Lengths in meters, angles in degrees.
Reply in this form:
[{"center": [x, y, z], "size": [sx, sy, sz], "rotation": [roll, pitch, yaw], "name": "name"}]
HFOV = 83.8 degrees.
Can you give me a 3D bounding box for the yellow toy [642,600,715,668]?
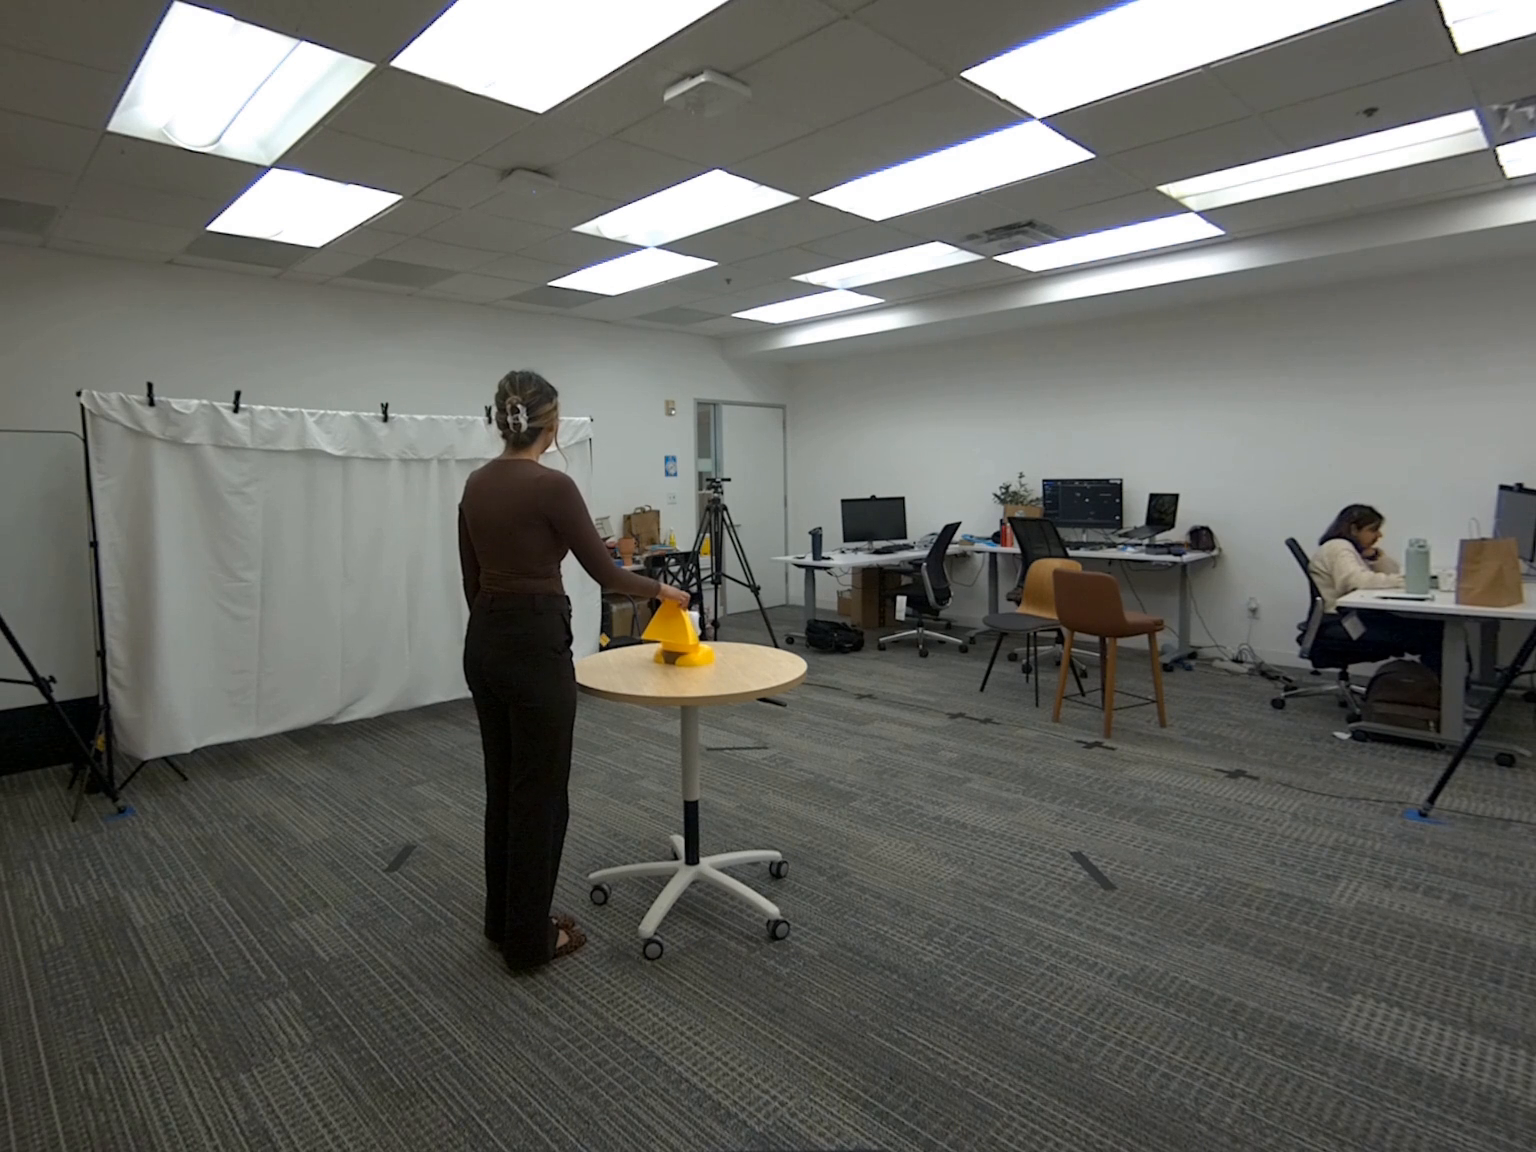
[{"center": [-0.282, 0.167, 2.822], "size": [0.210, 0.230, 0.188], "rotation": [4, 6, 33], "name": "yellow toy"}]
